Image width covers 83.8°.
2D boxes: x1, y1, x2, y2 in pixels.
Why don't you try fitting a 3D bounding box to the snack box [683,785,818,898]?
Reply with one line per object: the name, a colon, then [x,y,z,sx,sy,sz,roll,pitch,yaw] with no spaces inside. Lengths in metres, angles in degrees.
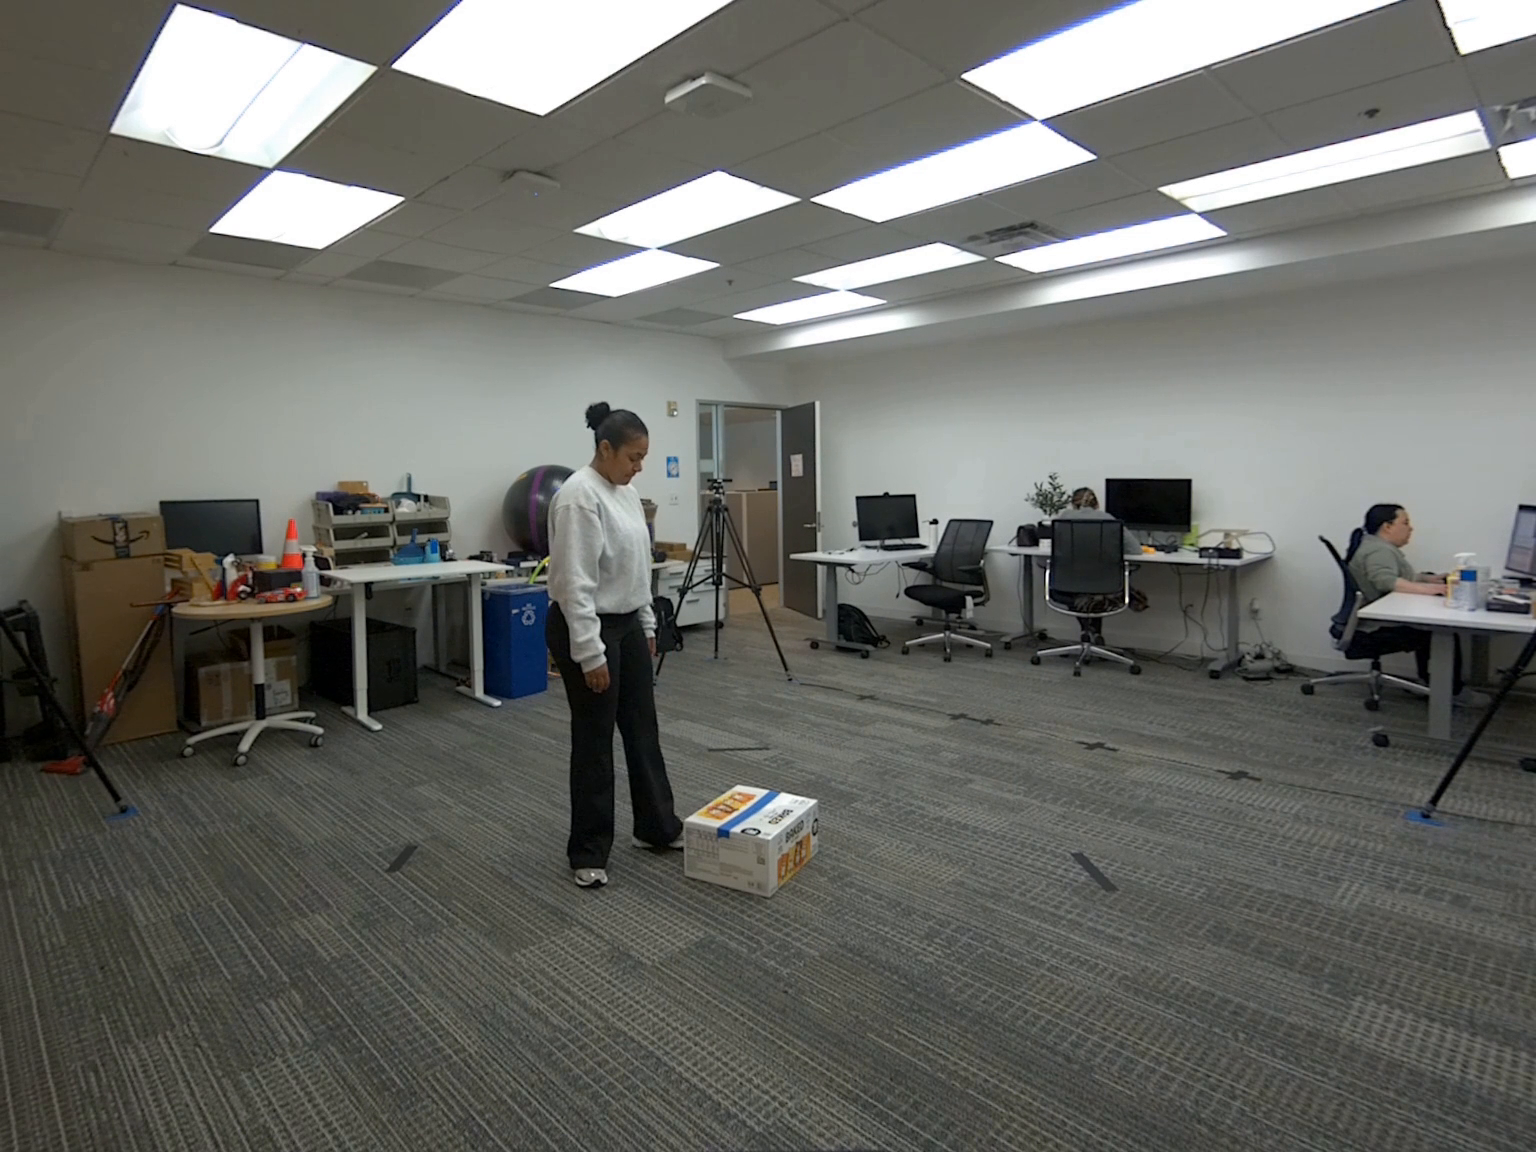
snack box: [-0.057,0.941,3.089,0.349,0.205,0.396,2,6,29]
